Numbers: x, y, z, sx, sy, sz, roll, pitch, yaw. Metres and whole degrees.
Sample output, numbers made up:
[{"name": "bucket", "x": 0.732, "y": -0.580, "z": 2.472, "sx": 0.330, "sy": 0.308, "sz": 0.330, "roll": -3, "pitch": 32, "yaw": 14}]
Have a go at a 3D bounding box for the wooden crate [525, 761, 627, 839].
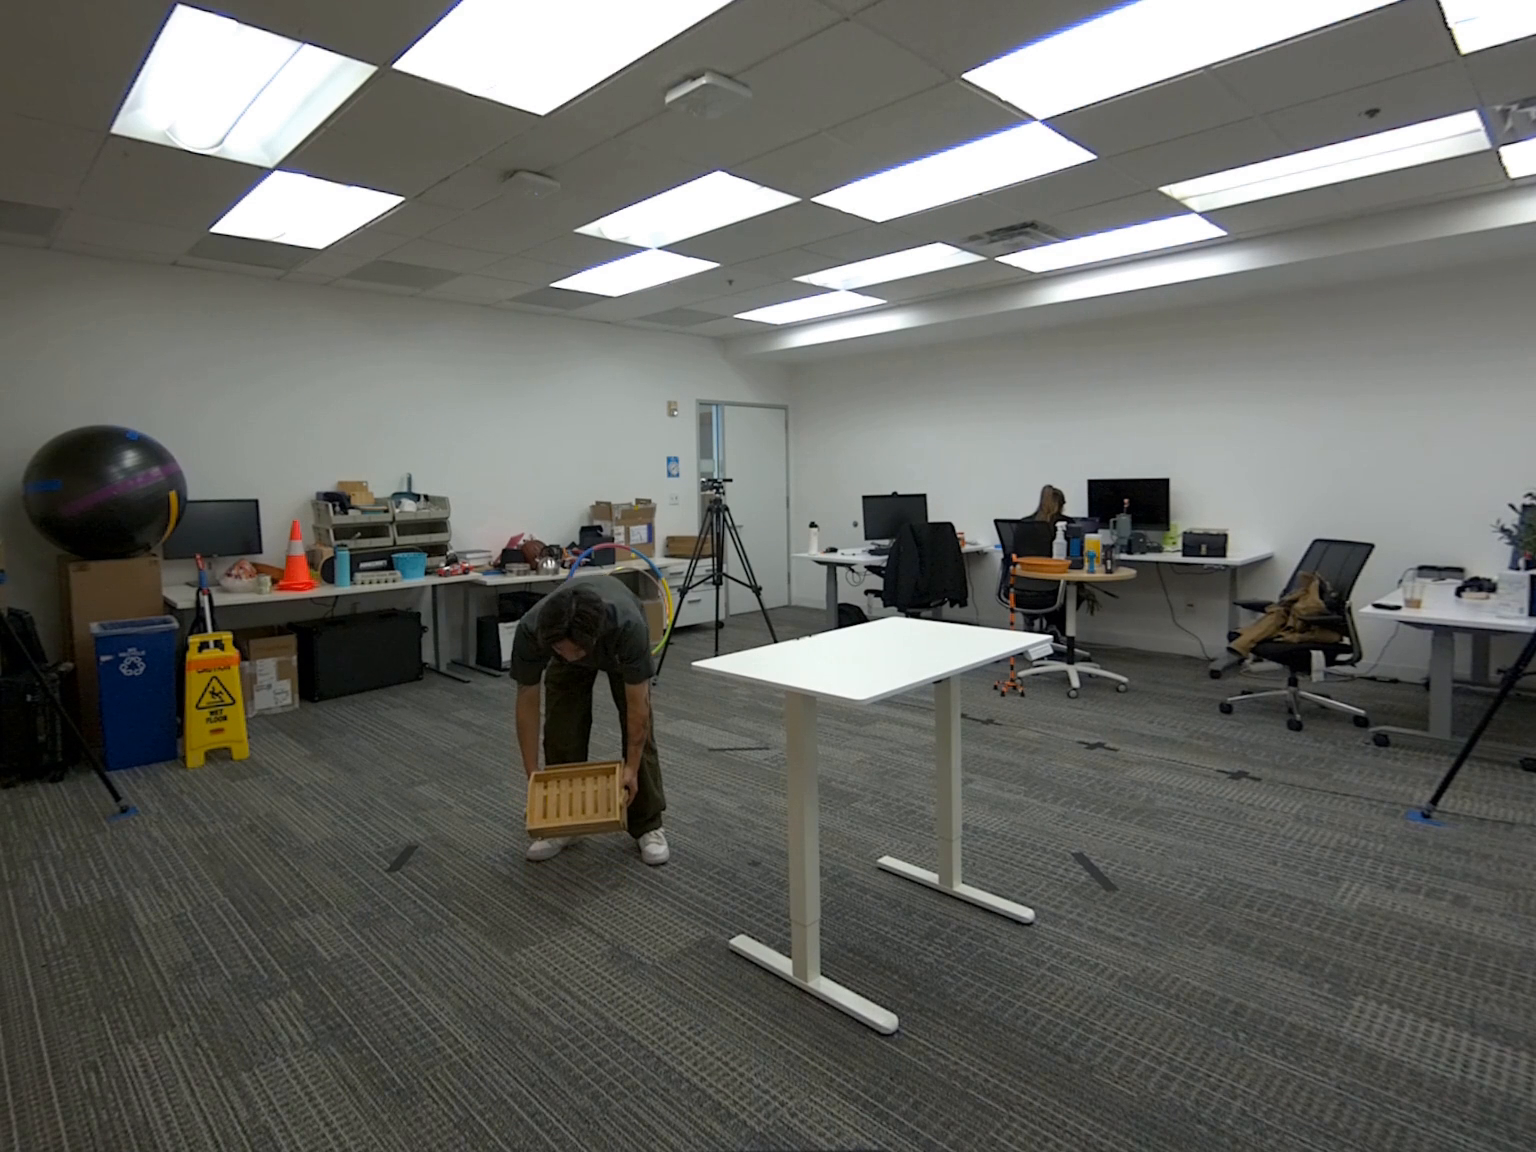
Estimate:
[{"name": "wooden crate", "x": -0.644, "y": 0.749, "z": 2.954, "sx": 0.324, "sy": 0.311, "sz": 0.266, "roll": -4, "pitch": -37, "yaw": -2}]
